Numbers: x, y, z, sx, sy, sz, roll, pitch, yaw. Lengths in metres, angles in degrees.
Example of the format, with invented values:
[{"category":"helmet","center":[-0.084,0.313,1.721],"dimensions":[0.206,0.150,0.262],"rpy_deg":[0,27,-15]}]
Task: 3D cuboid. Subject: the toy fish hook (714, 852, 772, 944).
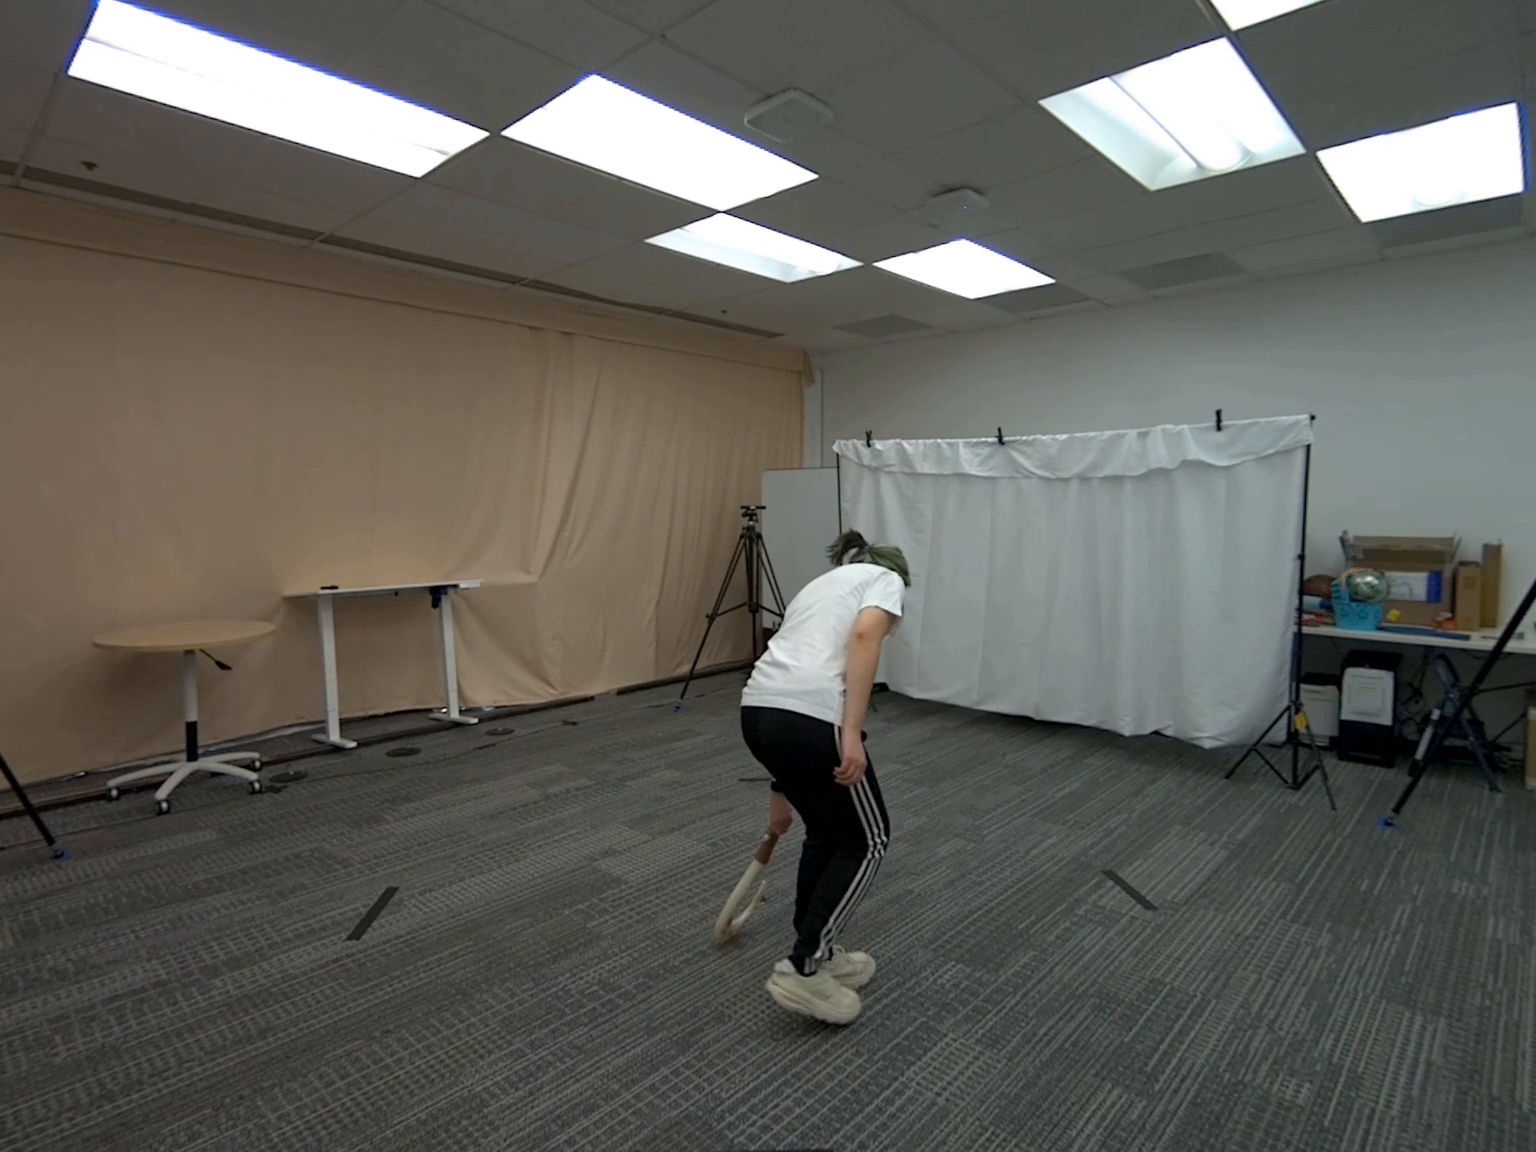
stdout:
[{"category":"toy fish hook","center":[-0.026,0.936,2.657],"dimensions":[0.050,0.506,0.218],"rpy_deg":[31,9,25]}]
